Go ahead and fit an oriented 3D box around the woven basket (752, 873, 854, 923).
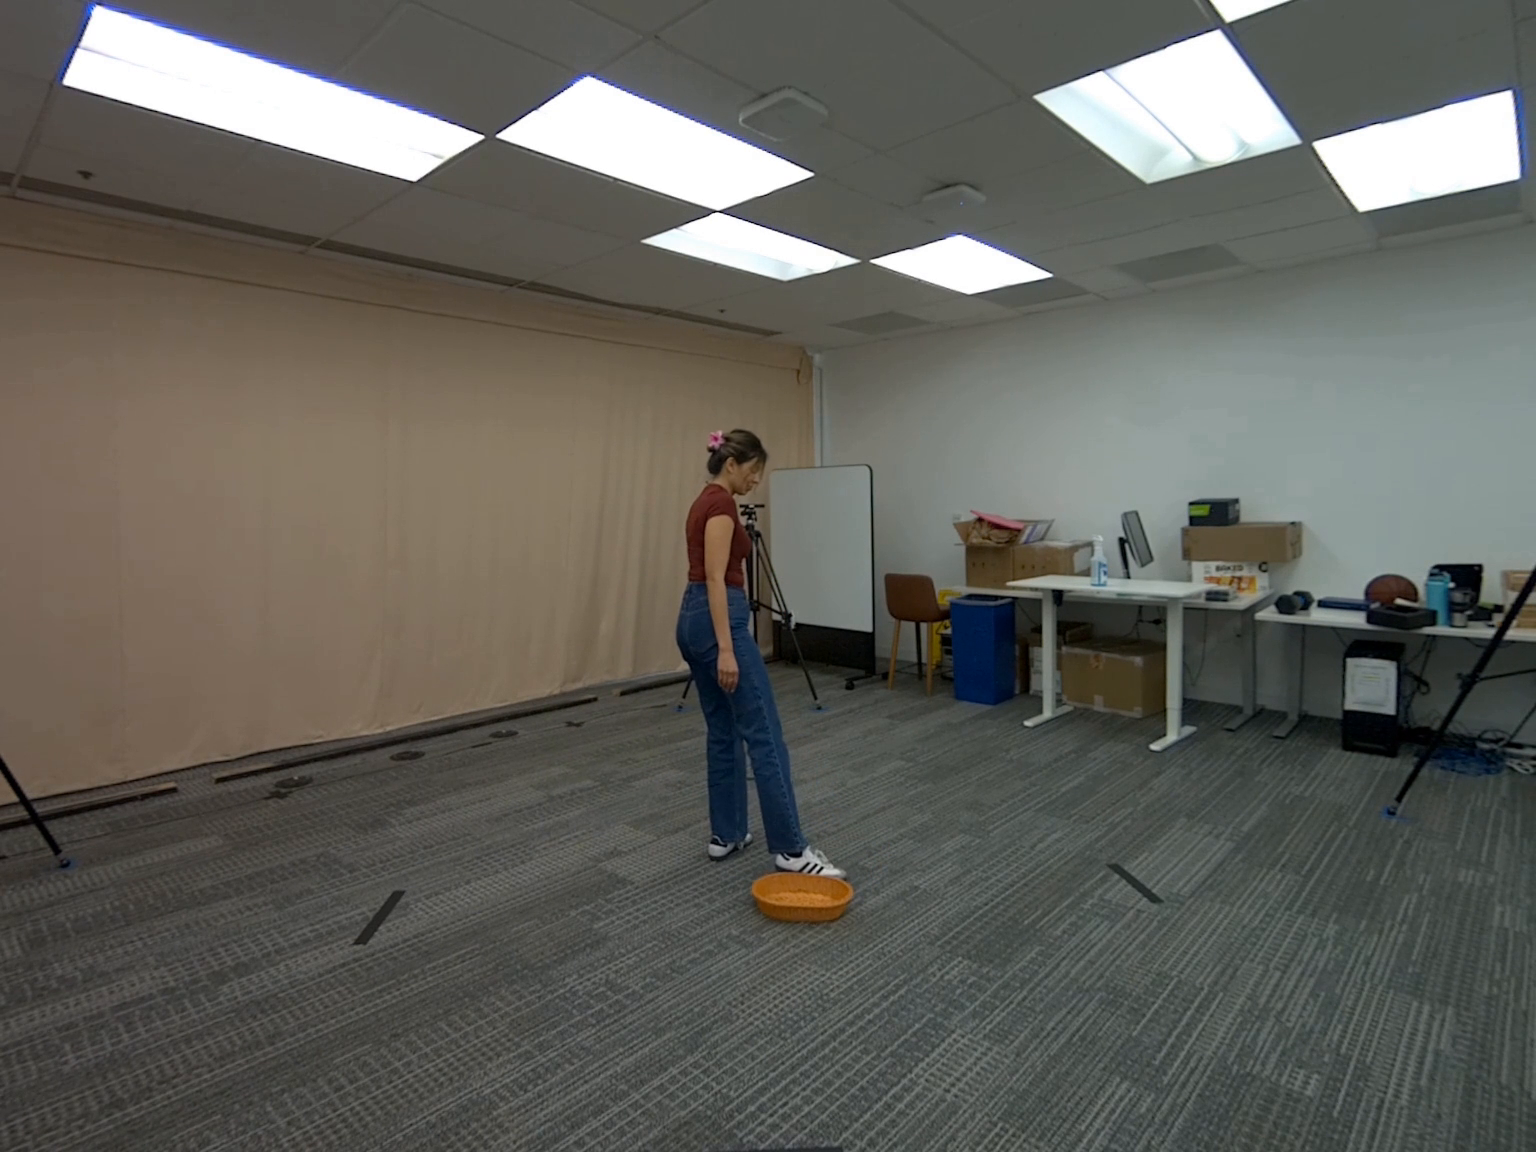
[{"bbox_3d":[0.116,1.100,2.896,0.354,0.073,0.250,0,5,8],"label":"woven basket"}]
